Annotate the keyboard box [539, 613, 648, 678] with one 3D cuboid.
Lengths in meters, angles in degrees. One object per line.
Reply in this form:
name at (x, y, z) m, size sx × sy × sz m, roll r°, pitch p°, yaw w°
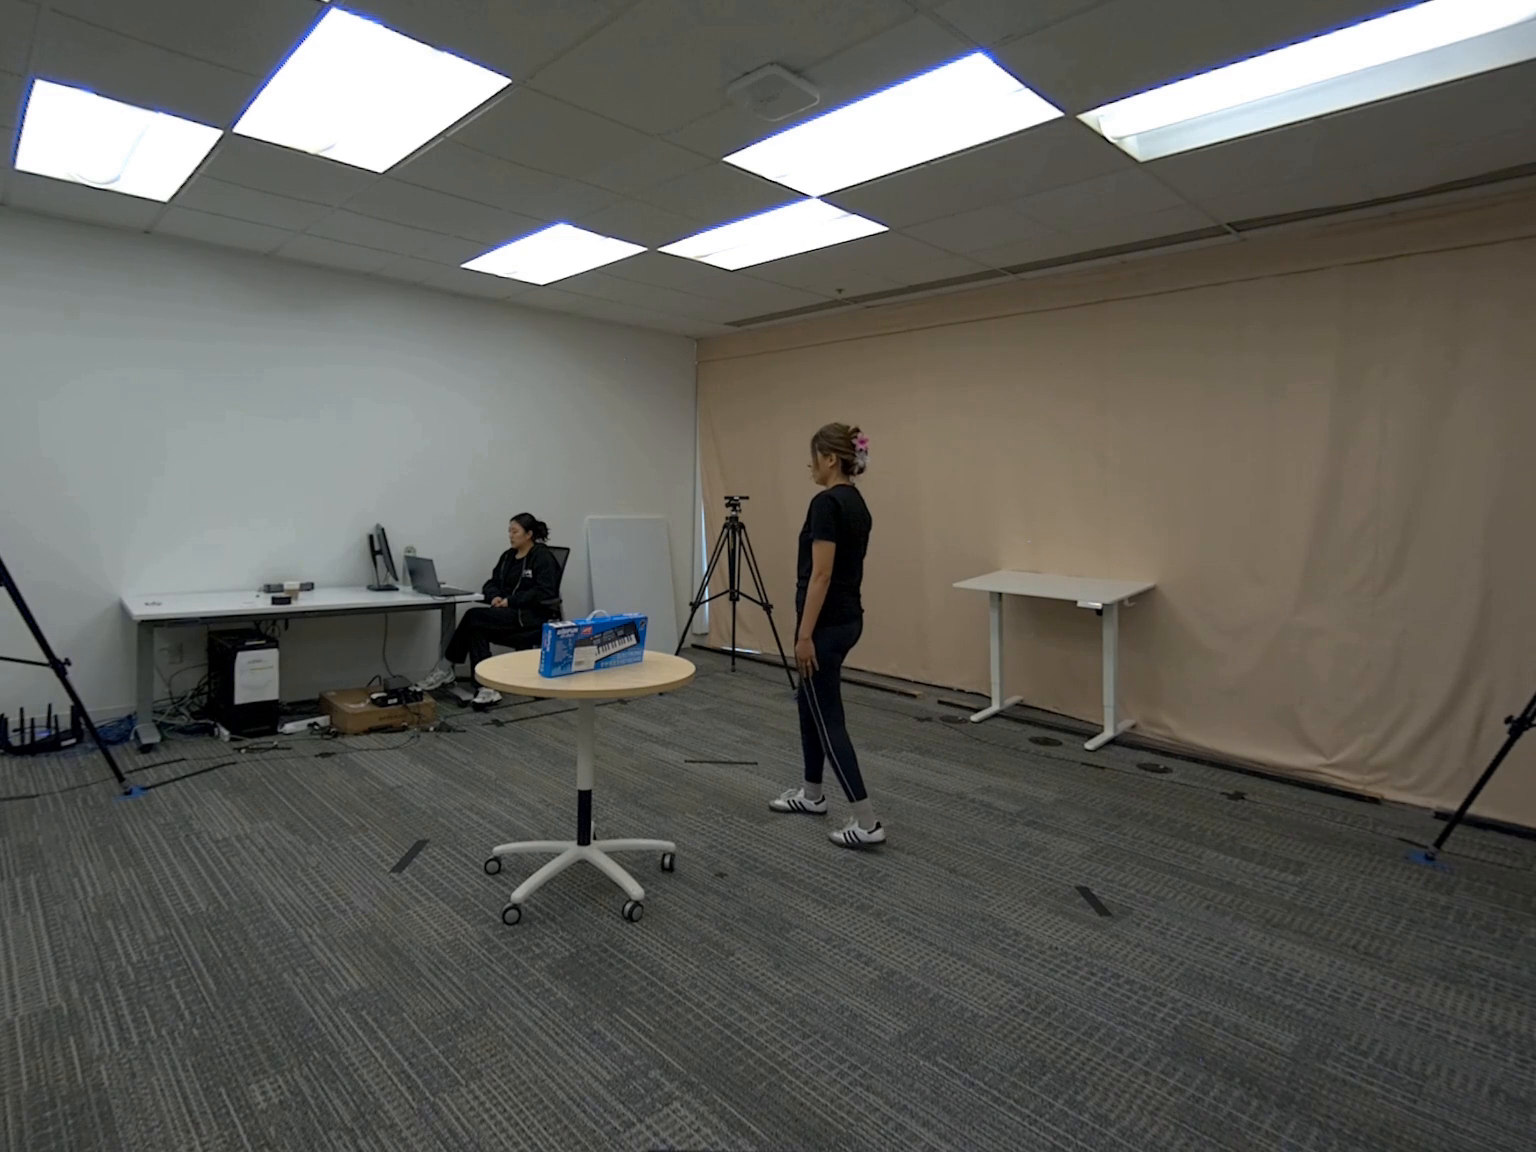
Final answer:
keyboard box at (-0.606, 0.239, 2.929) m, size 0.061 × 0.175 × 0.427 m, roll 14°, pitch 11°, yaw 35°
